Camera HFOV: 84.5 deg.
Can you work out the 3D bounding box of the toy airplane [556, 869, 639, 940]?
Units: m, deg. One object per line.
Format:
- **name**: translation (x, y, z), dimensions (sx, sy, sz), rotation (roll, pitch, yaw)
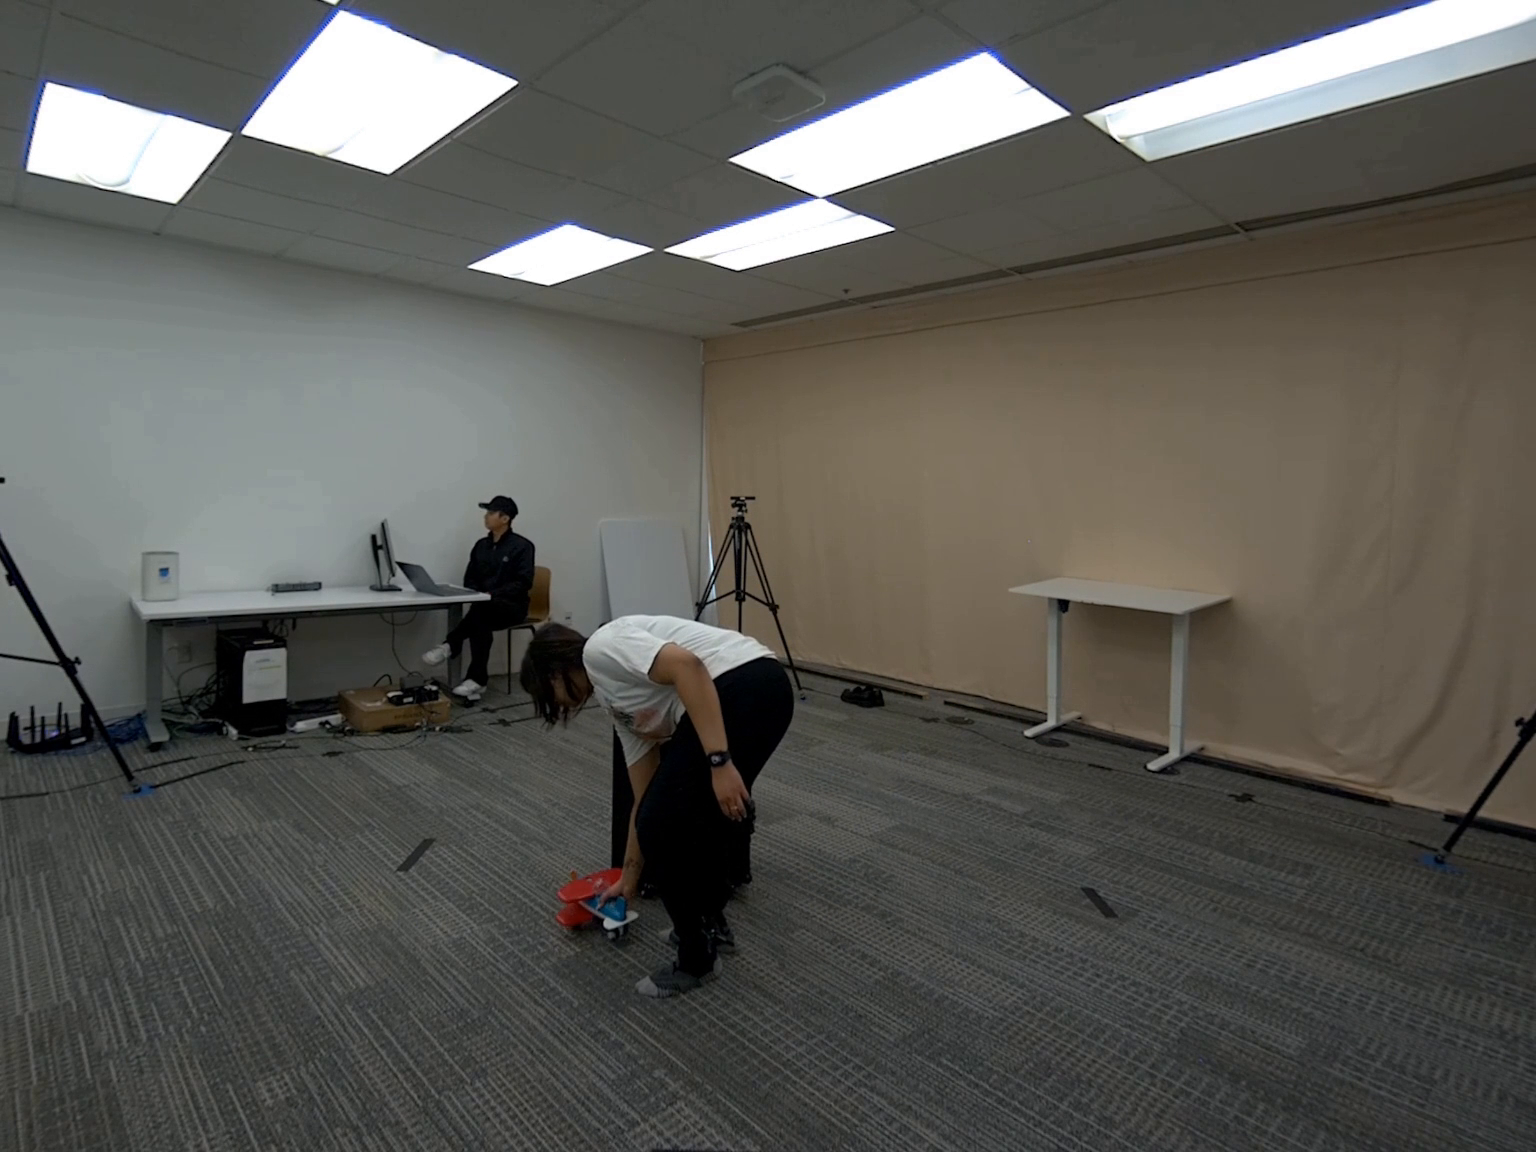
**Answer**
- **toy airplane**: translation (-0.535, 1.051, 2.686), dimensions (0.262, 0.156, 0.248), rotation (-5, 0, 16)
